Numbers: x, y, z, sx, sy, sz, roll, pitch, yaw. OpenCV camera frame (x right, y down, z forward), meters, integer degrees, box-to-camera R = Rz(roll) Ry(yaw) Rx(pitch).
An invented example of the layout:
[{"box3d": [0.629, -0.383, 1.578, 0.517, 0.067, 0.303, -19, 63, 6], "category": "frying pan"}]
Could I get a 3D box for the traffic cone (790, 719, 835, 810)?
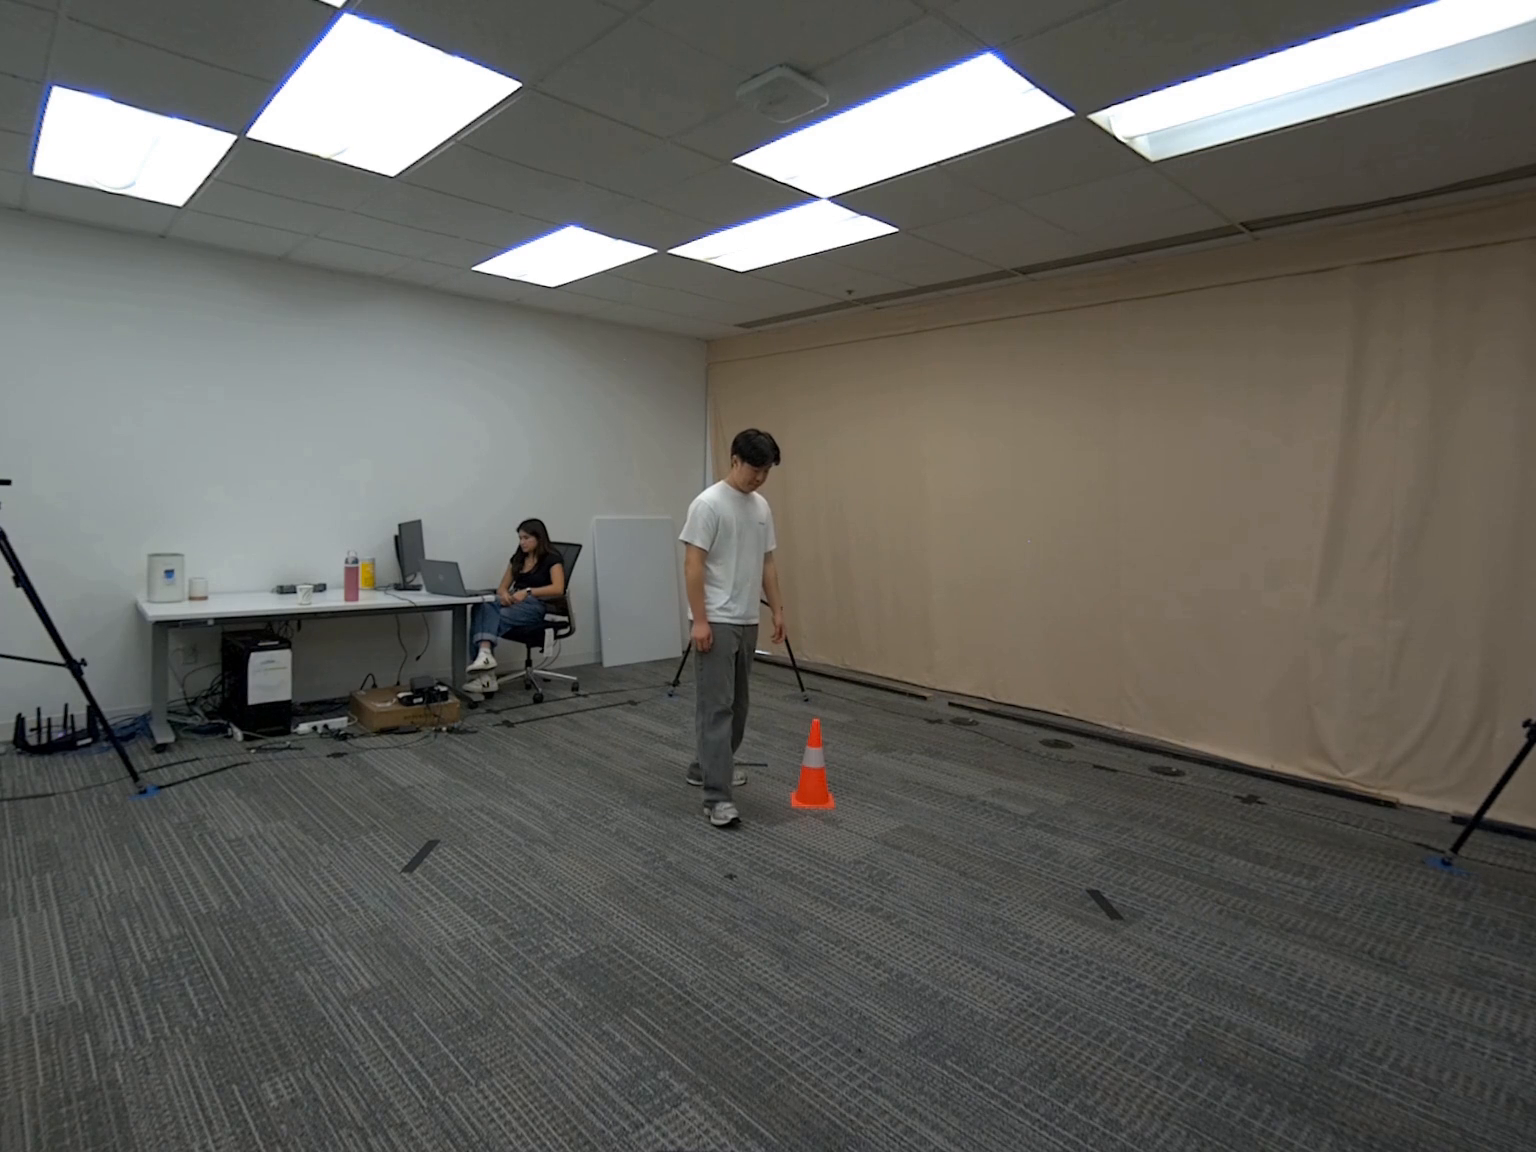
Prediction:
[{"box3d": [0.202, 0.864, 3.935, 0.202, 0.383, 0.206, 4, 2, -5], "category": "traffic cone"}]
